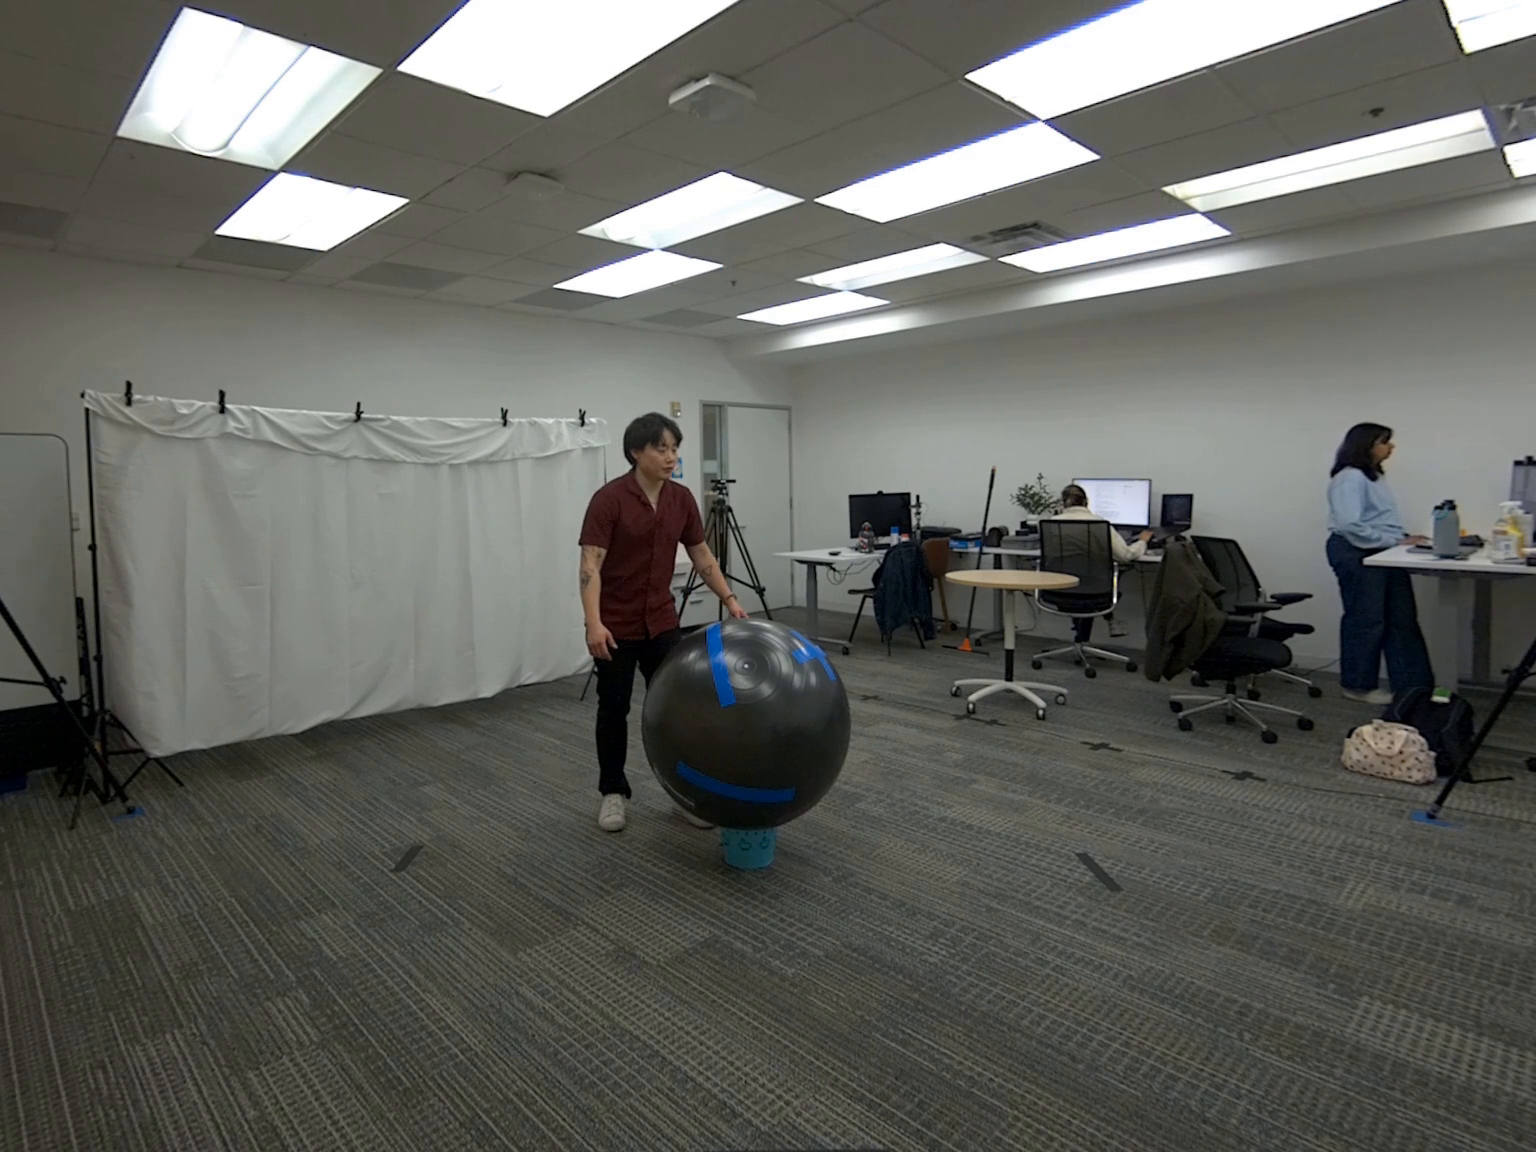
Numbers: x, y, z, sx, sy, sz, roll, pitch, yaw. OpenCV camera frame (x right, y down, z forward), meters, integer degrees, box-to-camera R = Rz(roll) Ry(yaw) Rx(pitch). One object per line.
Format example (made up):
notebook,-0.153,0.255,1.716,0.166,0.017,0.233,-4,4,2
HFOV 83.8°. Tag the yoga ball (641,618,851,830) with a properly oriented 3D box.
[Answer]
yoga ball,-0.077,0.539,3.120,0.757,0.755,0.762,-1,5,-2
